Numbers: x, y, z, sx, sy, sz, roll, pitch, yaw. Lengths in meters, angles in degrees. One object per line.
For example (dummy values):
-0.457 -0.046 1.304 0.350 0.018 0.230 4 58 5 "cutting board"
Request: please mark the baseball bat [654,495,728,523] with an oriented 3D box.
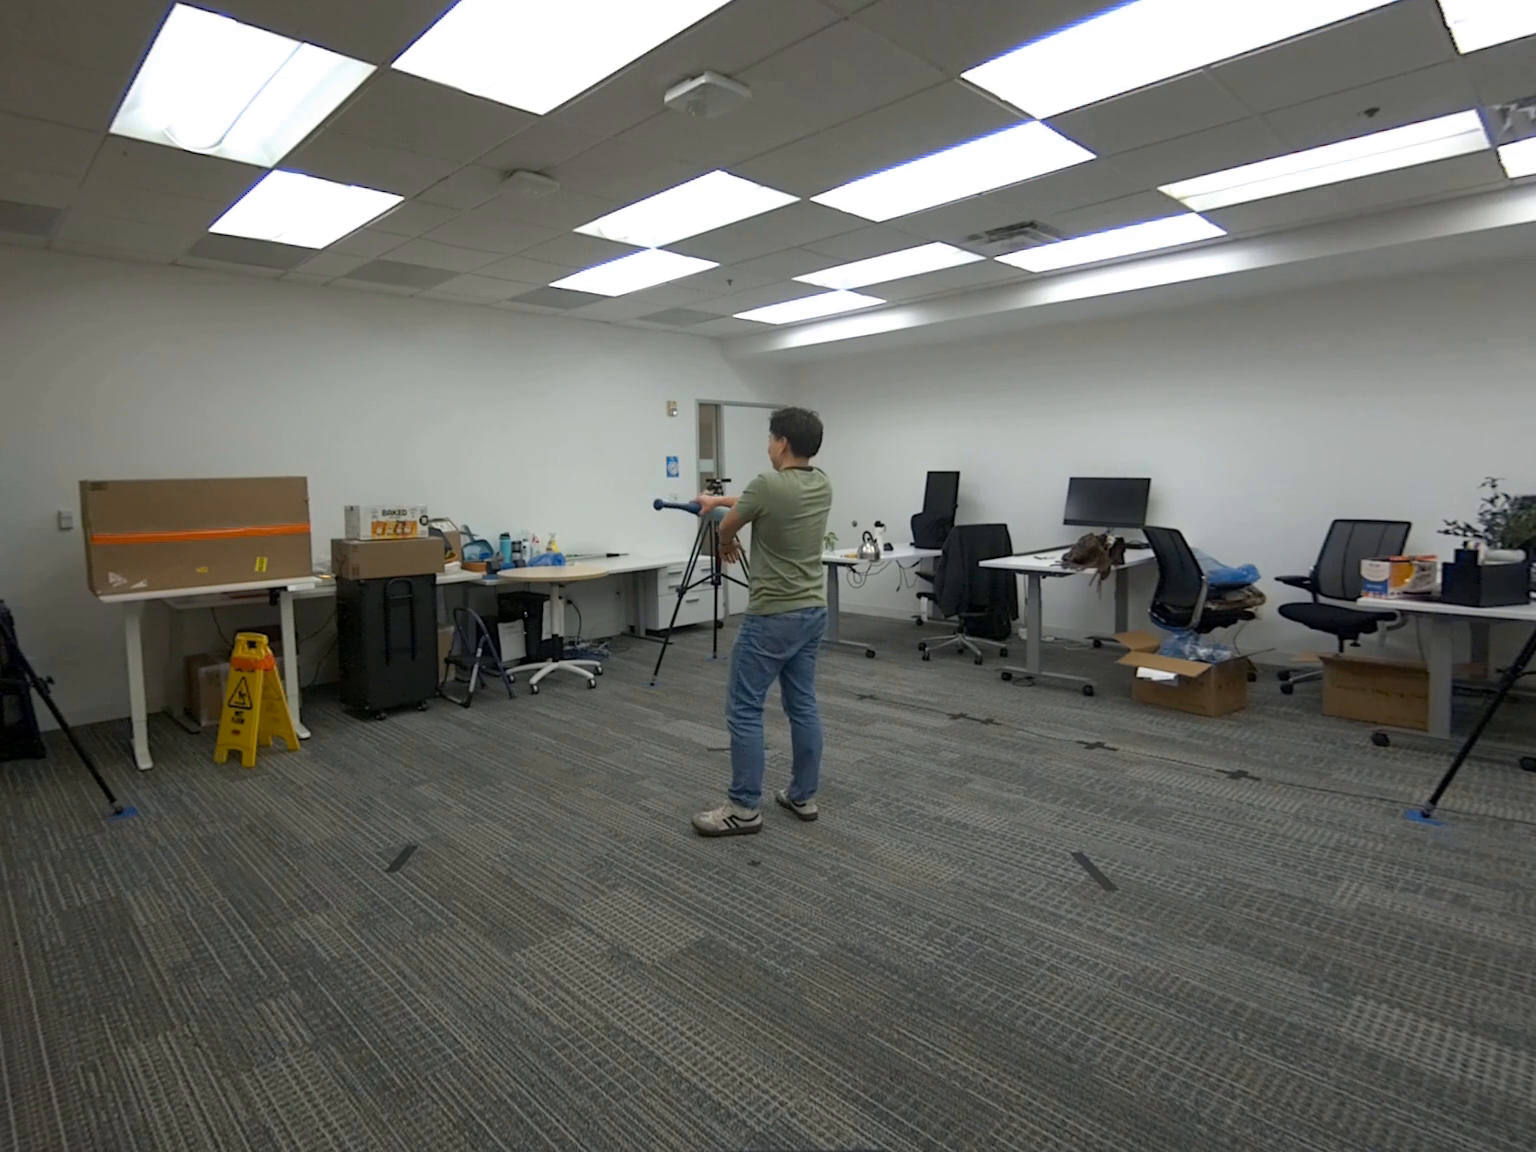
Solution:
-0.294 -0.296 3.832 0.091 0.089 0.527 2 1 35 "baseball bat"
